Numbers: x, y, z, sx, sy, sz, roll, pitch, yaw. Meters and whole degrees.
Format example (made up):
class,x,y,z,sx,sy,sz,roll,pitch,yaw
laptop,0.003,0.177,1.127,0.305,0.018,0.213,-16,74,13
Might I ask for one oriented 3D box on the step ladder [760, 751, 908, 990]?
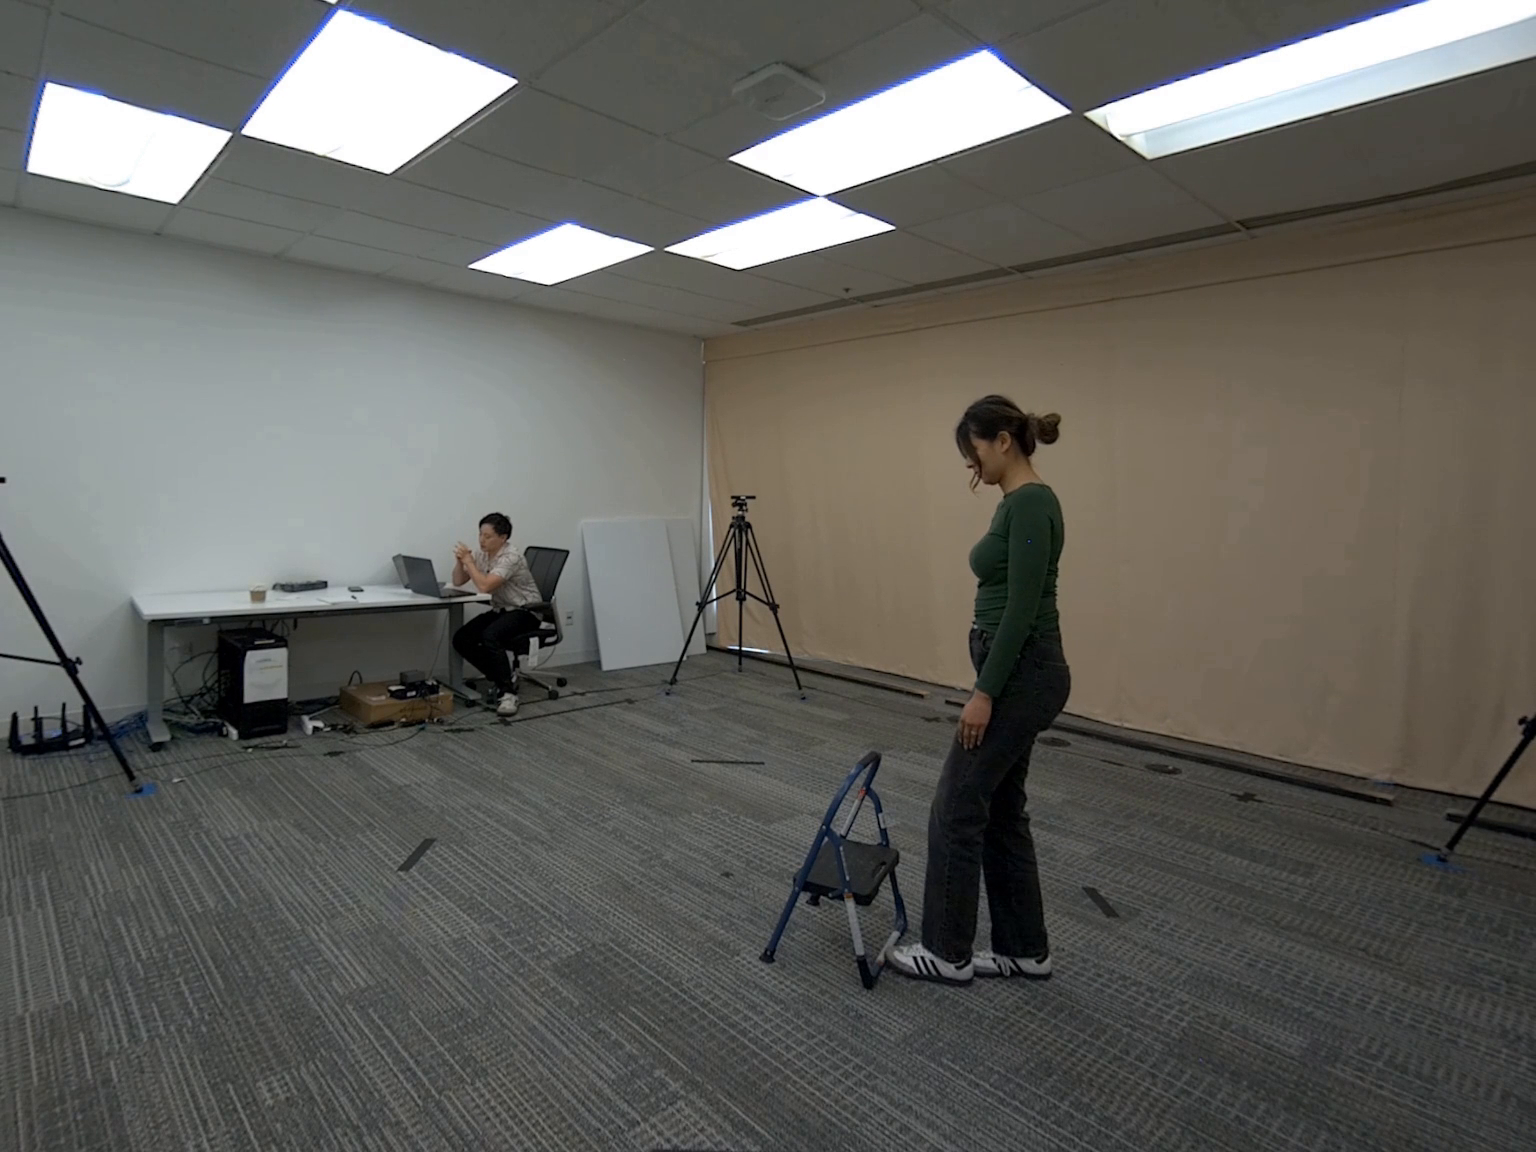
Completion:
class,x,y,z,sx,sy,sz,roll,pitch,yaw
step ladder,0.223,0.851,2.626,0.356,0.604,0.423,3,5,25
